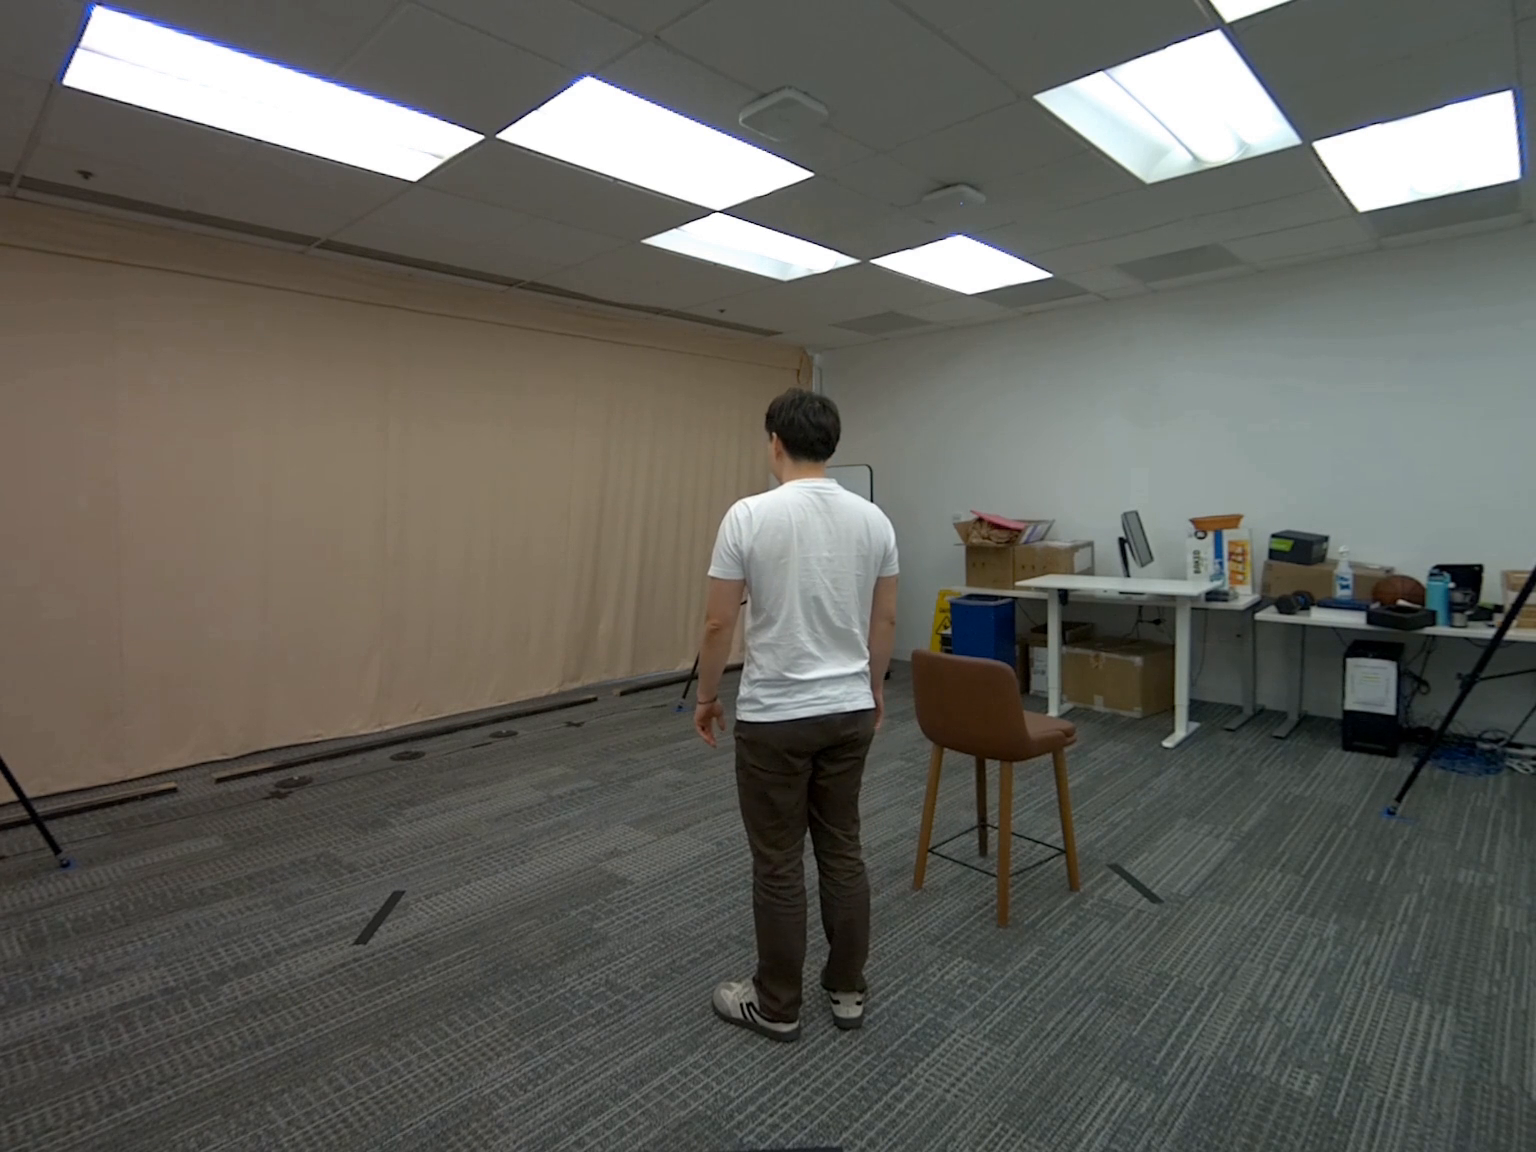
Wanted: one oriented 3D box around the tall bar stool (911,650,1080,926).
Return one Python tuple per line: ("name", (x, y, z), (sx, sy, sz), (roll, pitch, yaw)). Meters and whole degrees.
("tall bar stool", (0.807, 0.689, 2.996), (0.454, 0.887, 0.471), (-5, 6, -40))
